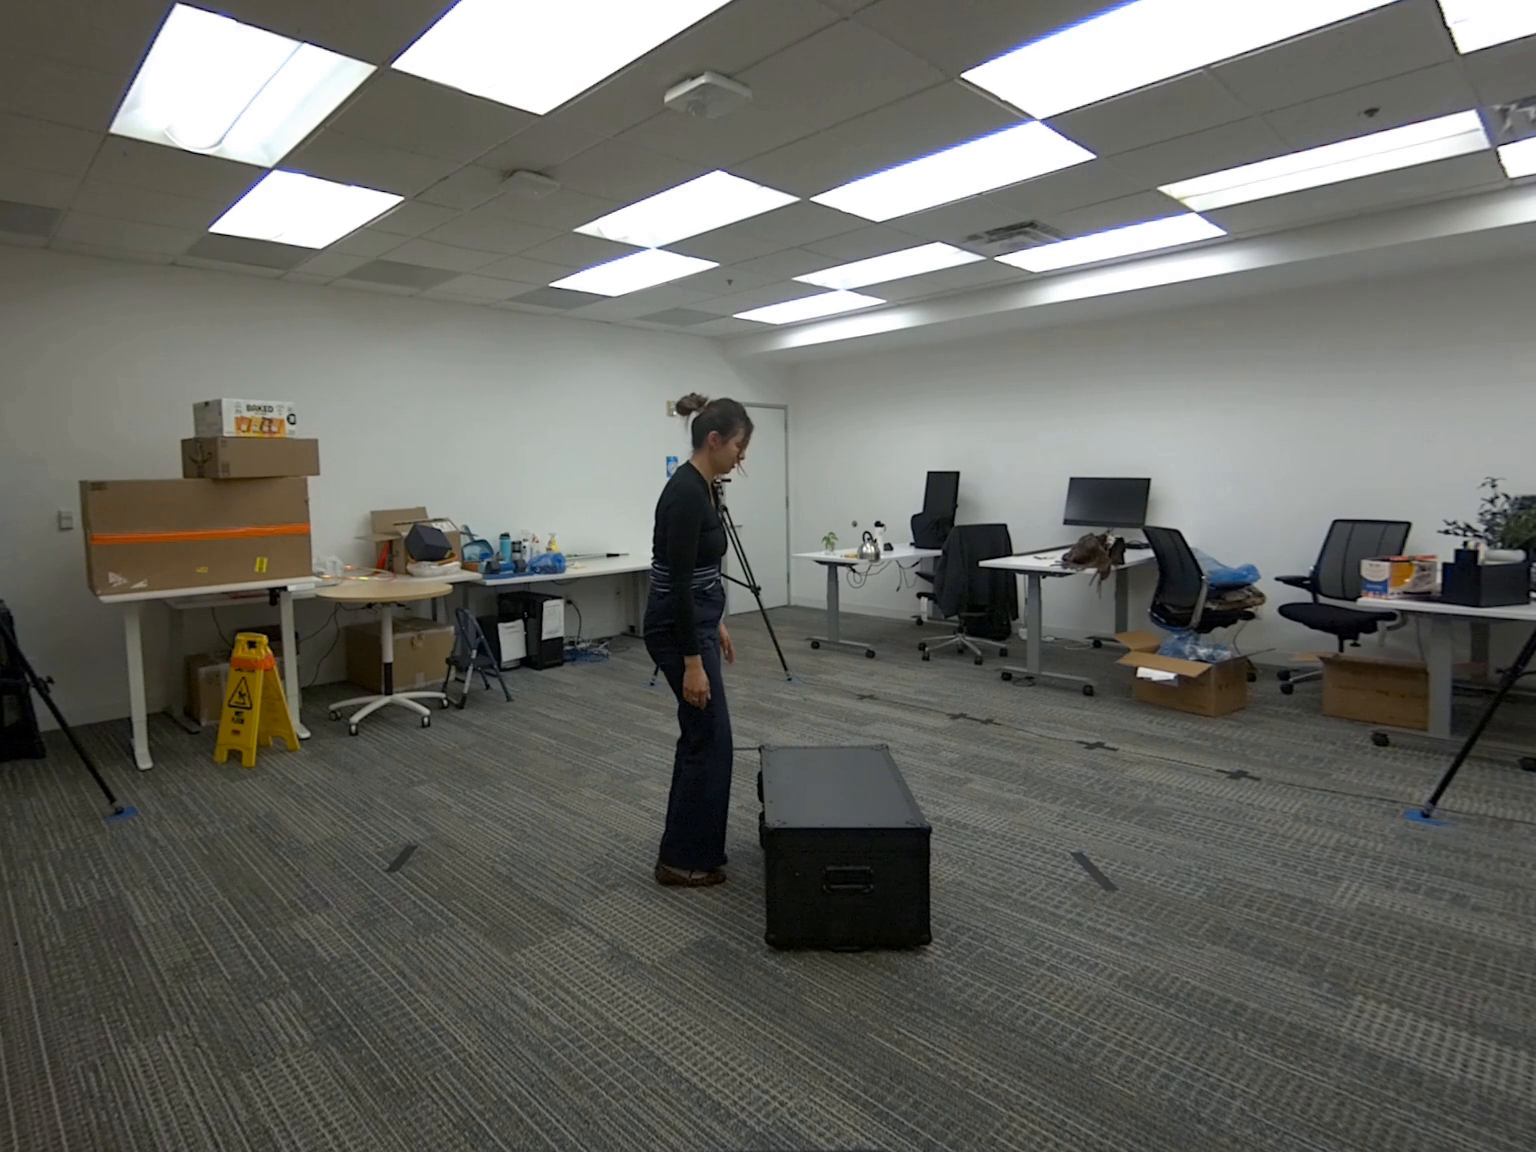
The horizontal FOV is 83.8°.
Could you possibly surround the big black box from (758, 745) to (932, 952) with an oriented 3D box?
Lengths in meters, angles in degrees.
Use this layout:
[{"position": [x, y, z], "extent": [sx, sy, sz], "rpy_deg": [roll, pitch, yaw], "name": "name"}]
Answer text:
[{"position": [0.231, 0.868, 2.914], "extent": [0.521, 0.394, 0.865], "rpy_deg": [-1, 6, -1], "name": "big black box"}]
